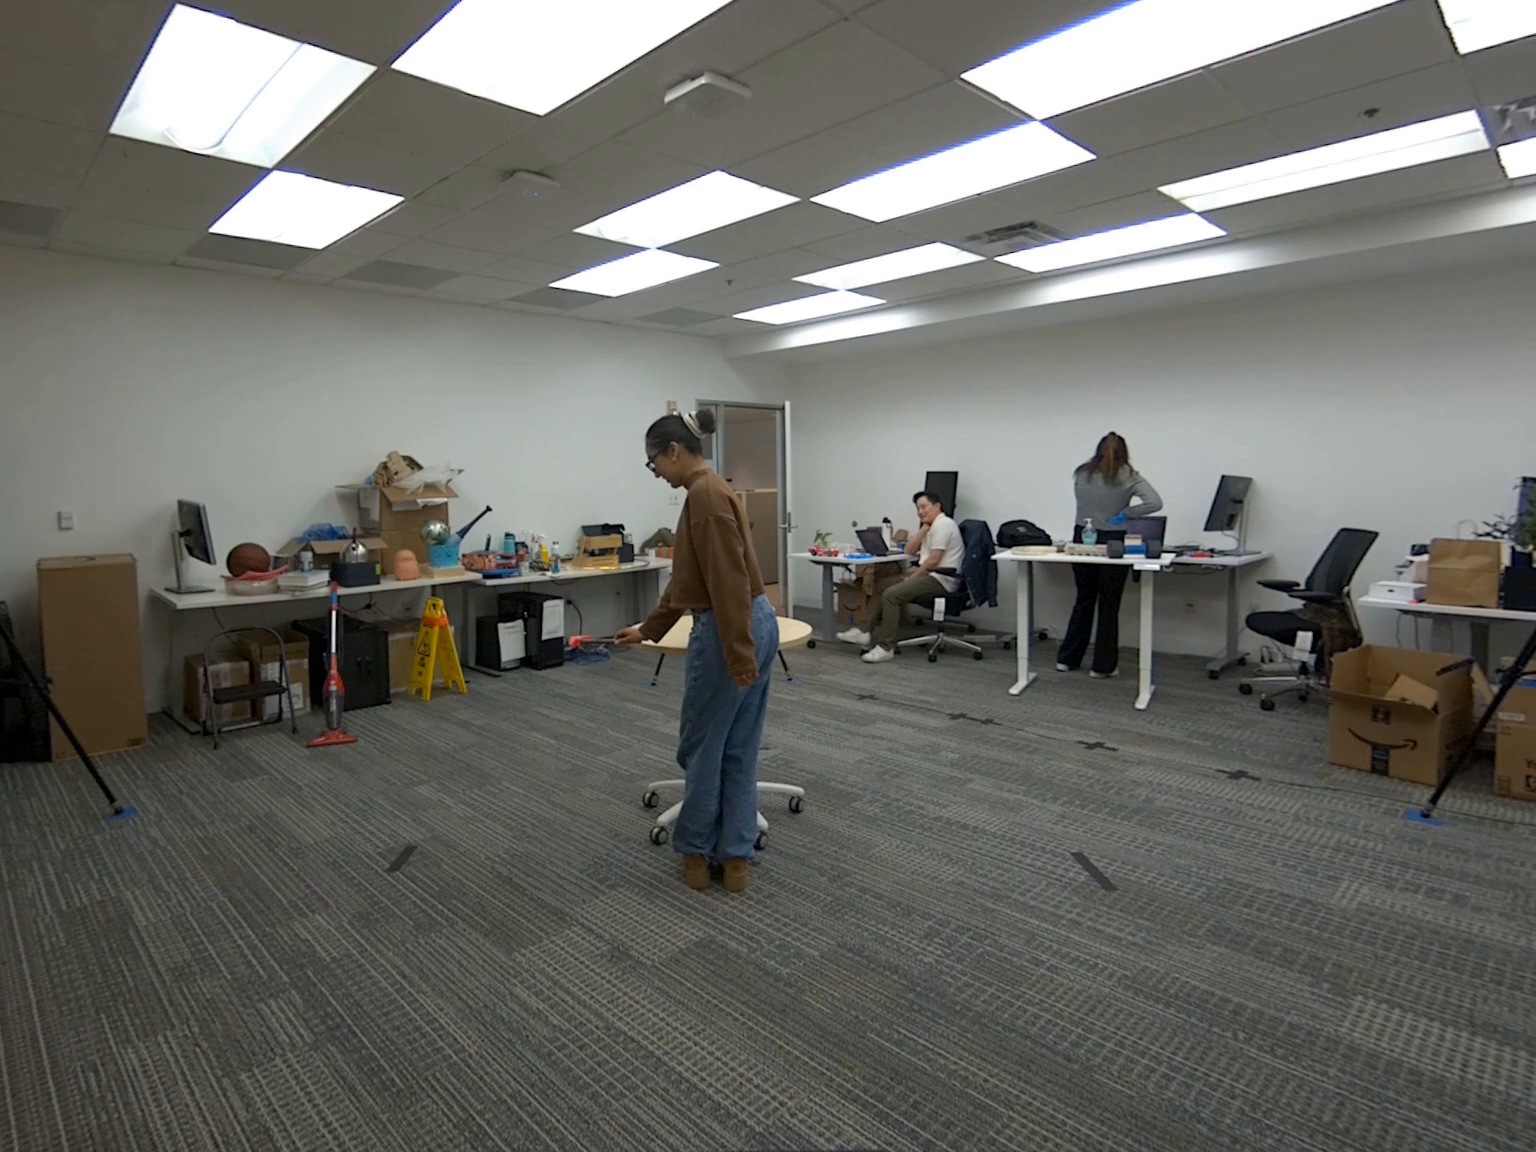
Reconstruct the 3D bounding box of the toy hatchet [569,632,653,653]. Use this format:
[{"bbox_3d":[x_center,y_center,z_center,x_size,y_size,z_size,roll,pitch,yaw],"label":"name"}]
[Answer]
[{"bbox_3d":[-0.574,0.240,3.133,0.274,0.029,0.130,1,11,14],"label":"toy hatchet"}]
